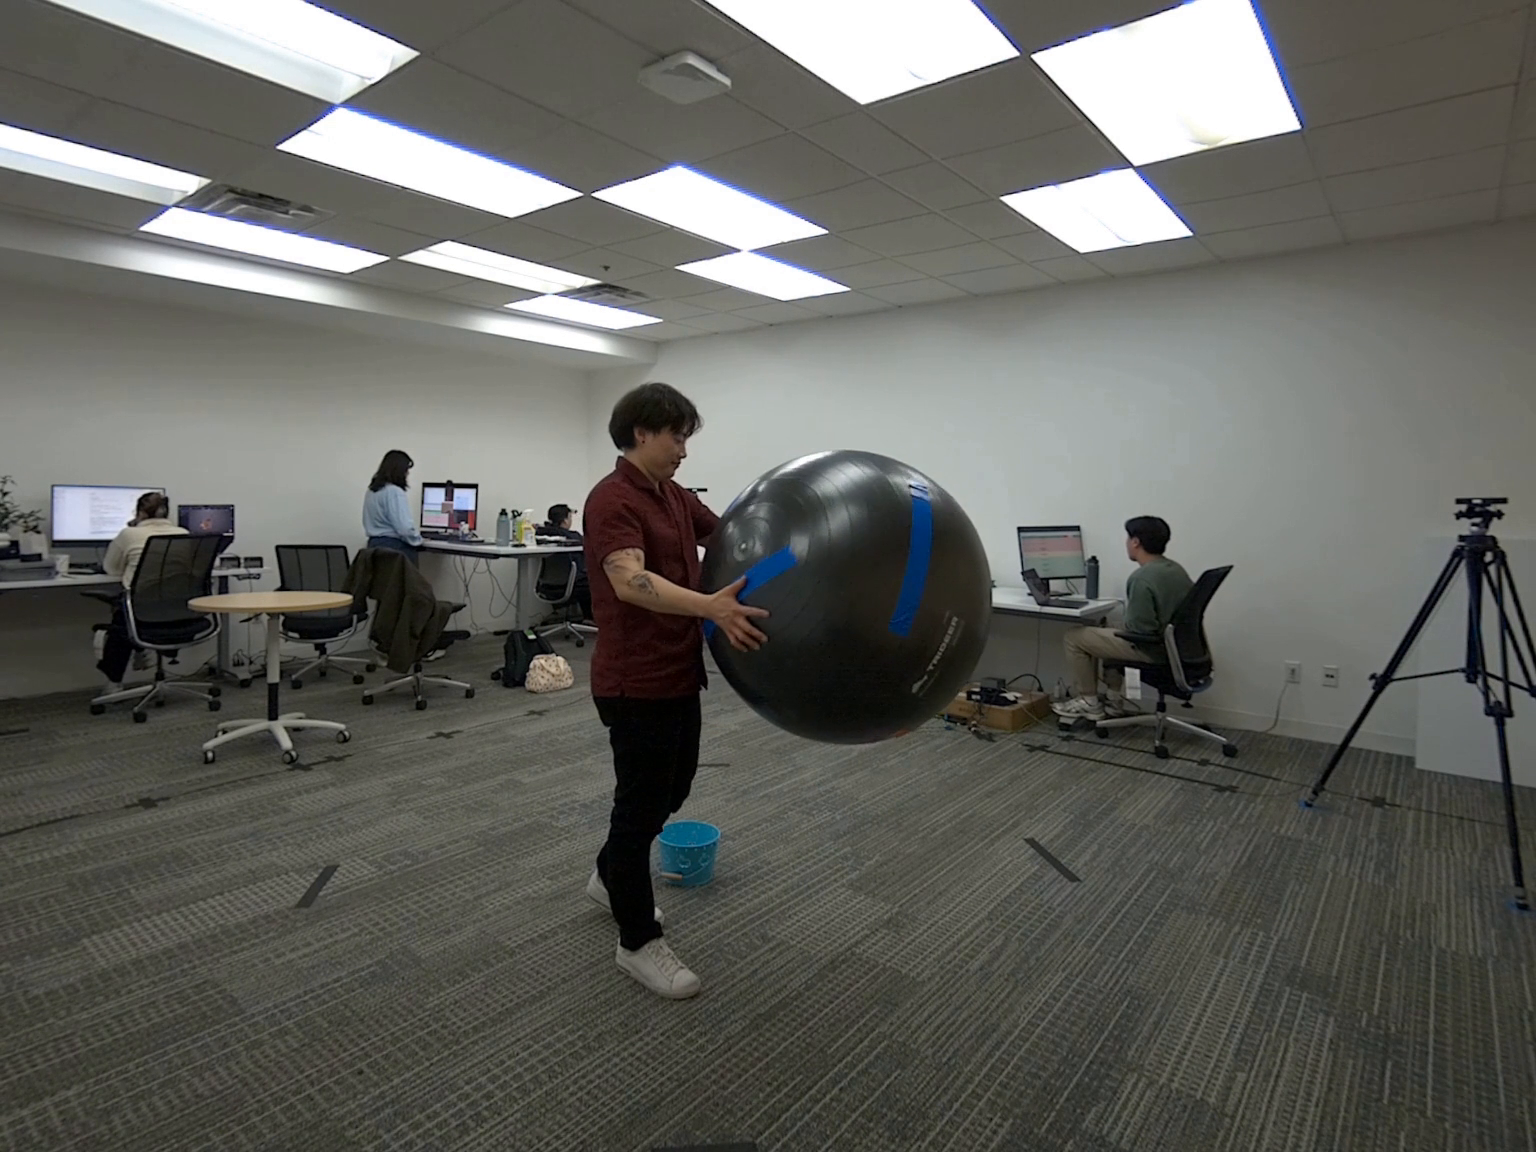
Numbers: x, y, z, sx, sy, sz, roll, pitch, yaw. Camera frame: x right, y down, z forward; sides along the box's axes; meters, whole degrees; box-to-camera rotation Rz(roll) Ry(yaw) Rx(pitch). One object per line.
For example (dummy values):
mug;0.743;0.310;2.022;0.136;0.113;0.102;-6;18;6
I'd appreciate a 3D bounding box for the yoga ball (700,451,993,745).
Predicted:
yoga ball;0.188;0.055;2.233;0.757;0.756;0.761;1;4;-2
